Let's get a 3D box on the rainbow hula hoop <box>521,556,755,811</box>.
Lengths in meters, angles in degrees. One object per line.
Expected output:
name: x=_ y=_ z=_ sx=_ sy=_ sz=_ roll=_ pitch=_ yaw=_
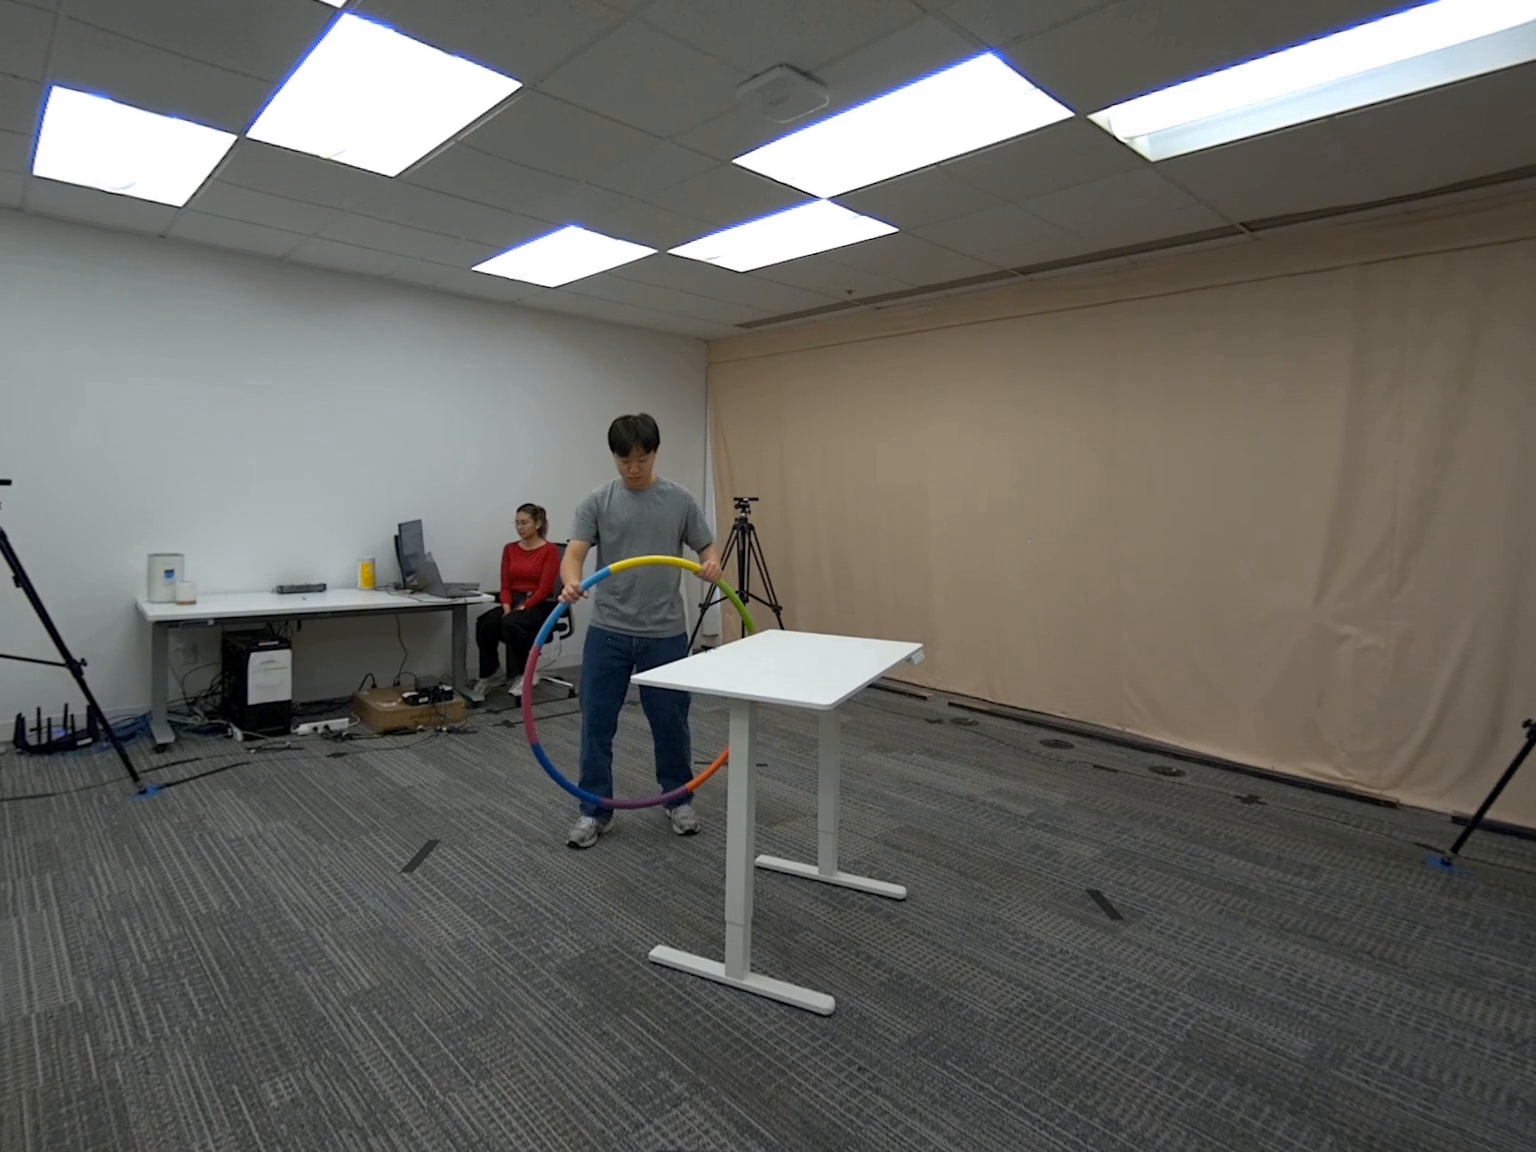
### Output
rainbow hula hoop: x=-0.460 y=0.411 z=3.221 sx=0.959 sy=0.973 sz=0.036 roll=-1 pitch=9 yaw=-30
